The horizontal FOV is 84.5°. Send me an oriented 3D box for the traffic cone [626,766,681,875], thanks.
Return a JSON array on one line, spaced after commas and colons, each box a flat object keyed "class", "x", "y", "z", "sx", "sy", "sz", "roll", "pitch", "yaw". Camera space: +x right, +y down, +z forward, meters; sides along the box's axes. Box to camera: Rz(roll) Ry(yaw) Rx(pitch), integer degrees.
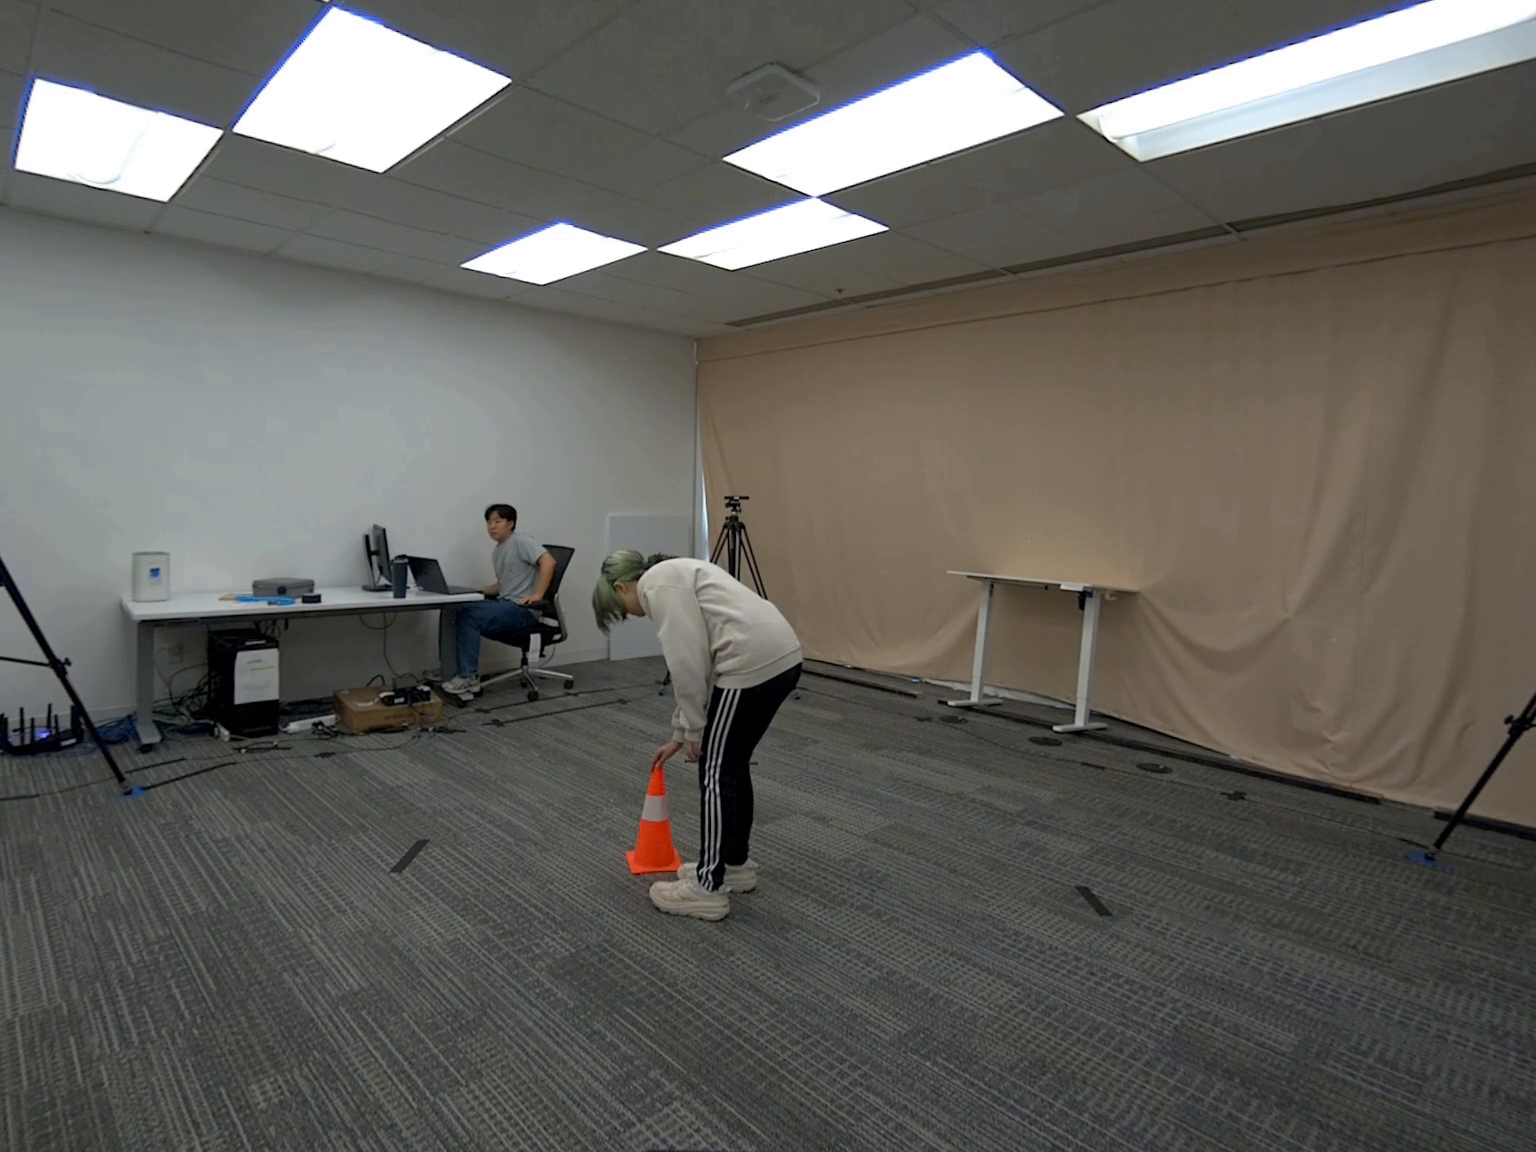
[{"class": "traffic cone", "x": -0.439, "y": 0.900, "z": 3.206, "sx": 0.203, "sy": 0.384, "sz": 0.205, "roll": 2, "pitch": 0, "yaw": -14}]
